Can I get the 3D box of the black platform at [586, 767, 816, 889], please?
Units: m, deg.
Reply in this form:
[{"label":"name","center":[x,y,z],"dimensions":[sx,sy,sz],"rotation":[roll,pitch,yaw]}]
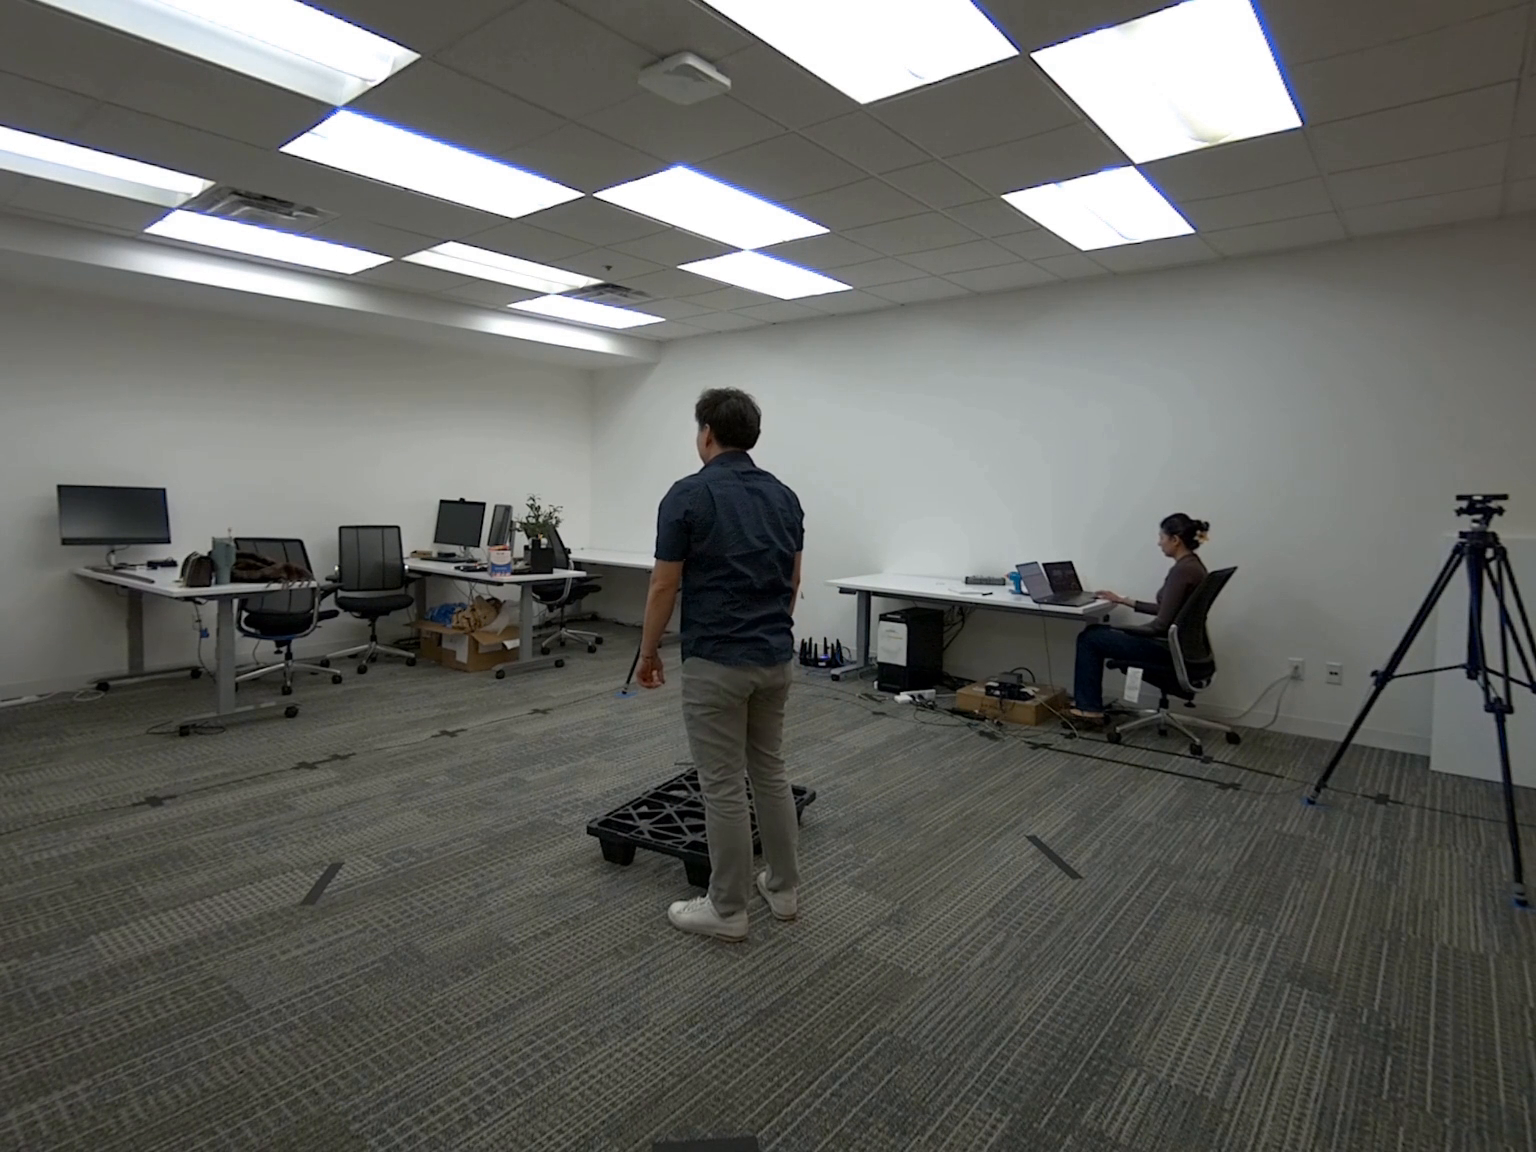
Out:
[{"label":"black platform","center":[-0.252,0.971,3.357],"dimensions":[0.622,0.143,0.786],"rotation":[3,6,28]}]
